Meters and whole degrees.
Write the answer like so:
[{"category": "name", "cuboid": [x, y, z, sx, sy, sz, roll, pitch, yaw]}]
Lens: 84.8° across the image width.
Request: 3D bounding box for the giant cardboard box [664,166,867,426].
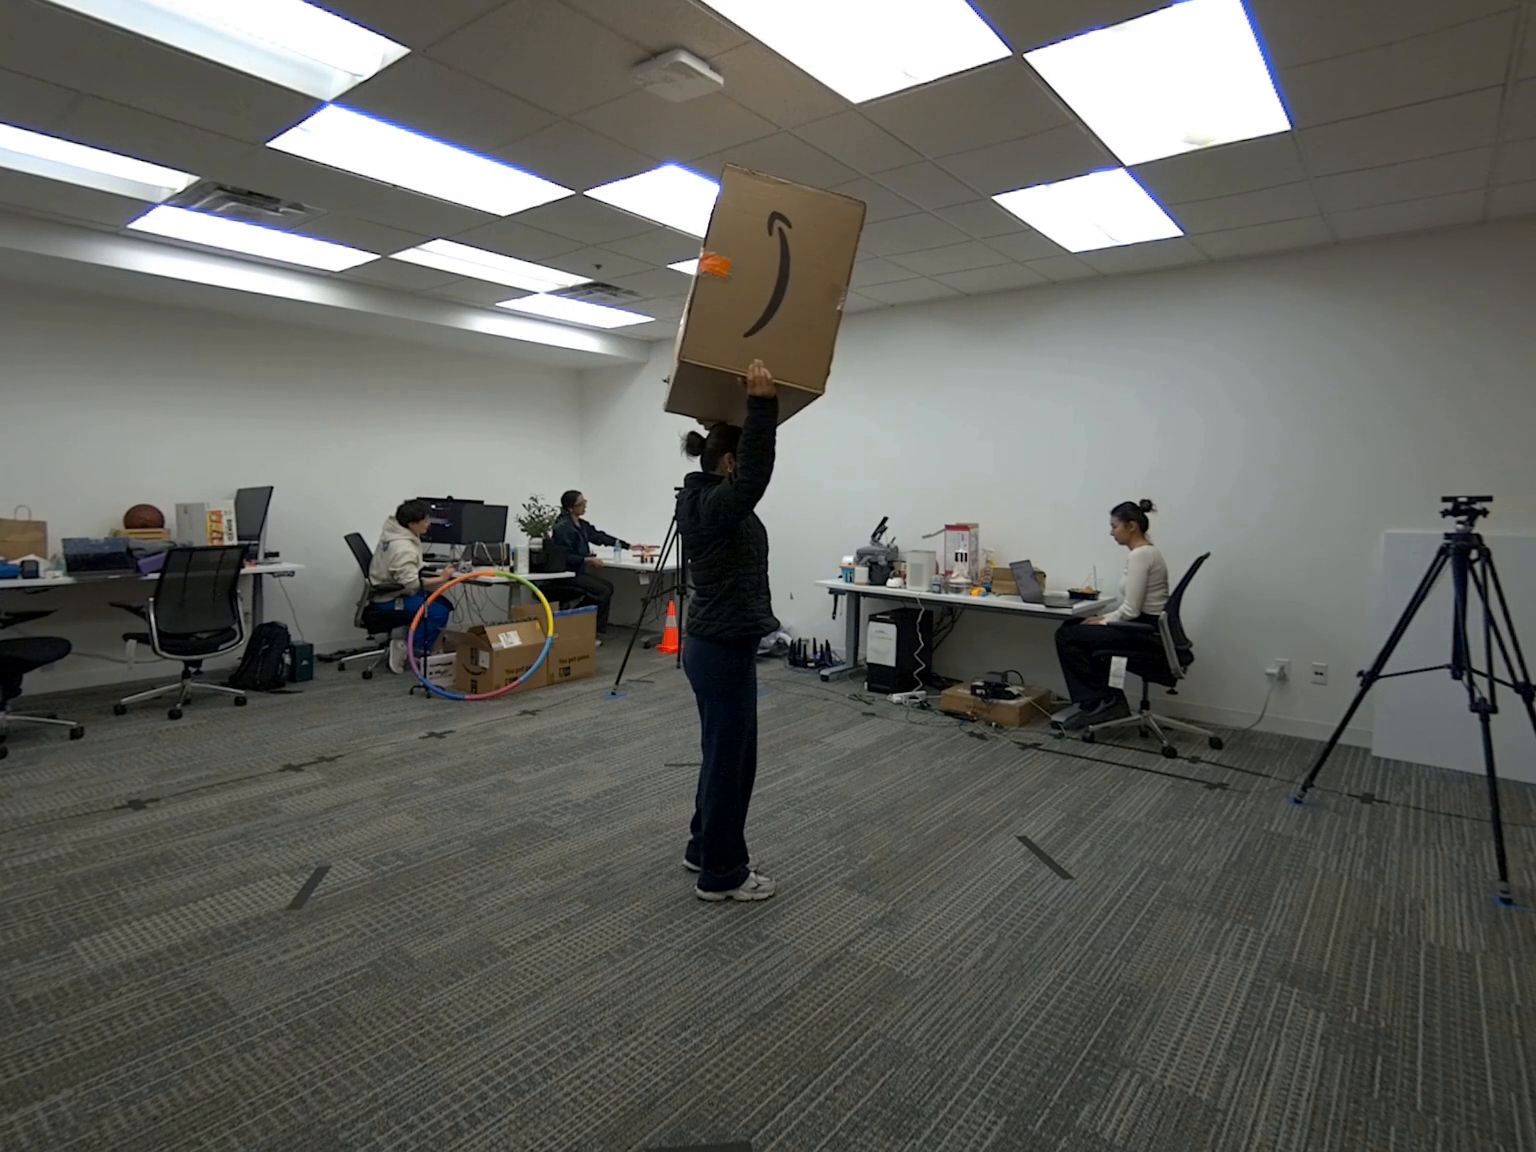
[{"category": "giant cardboard box", "cuboid": [-0.056, -0.860, 2.903, 0.443, 0.584, 1.035, 12, 0, -8]}]
